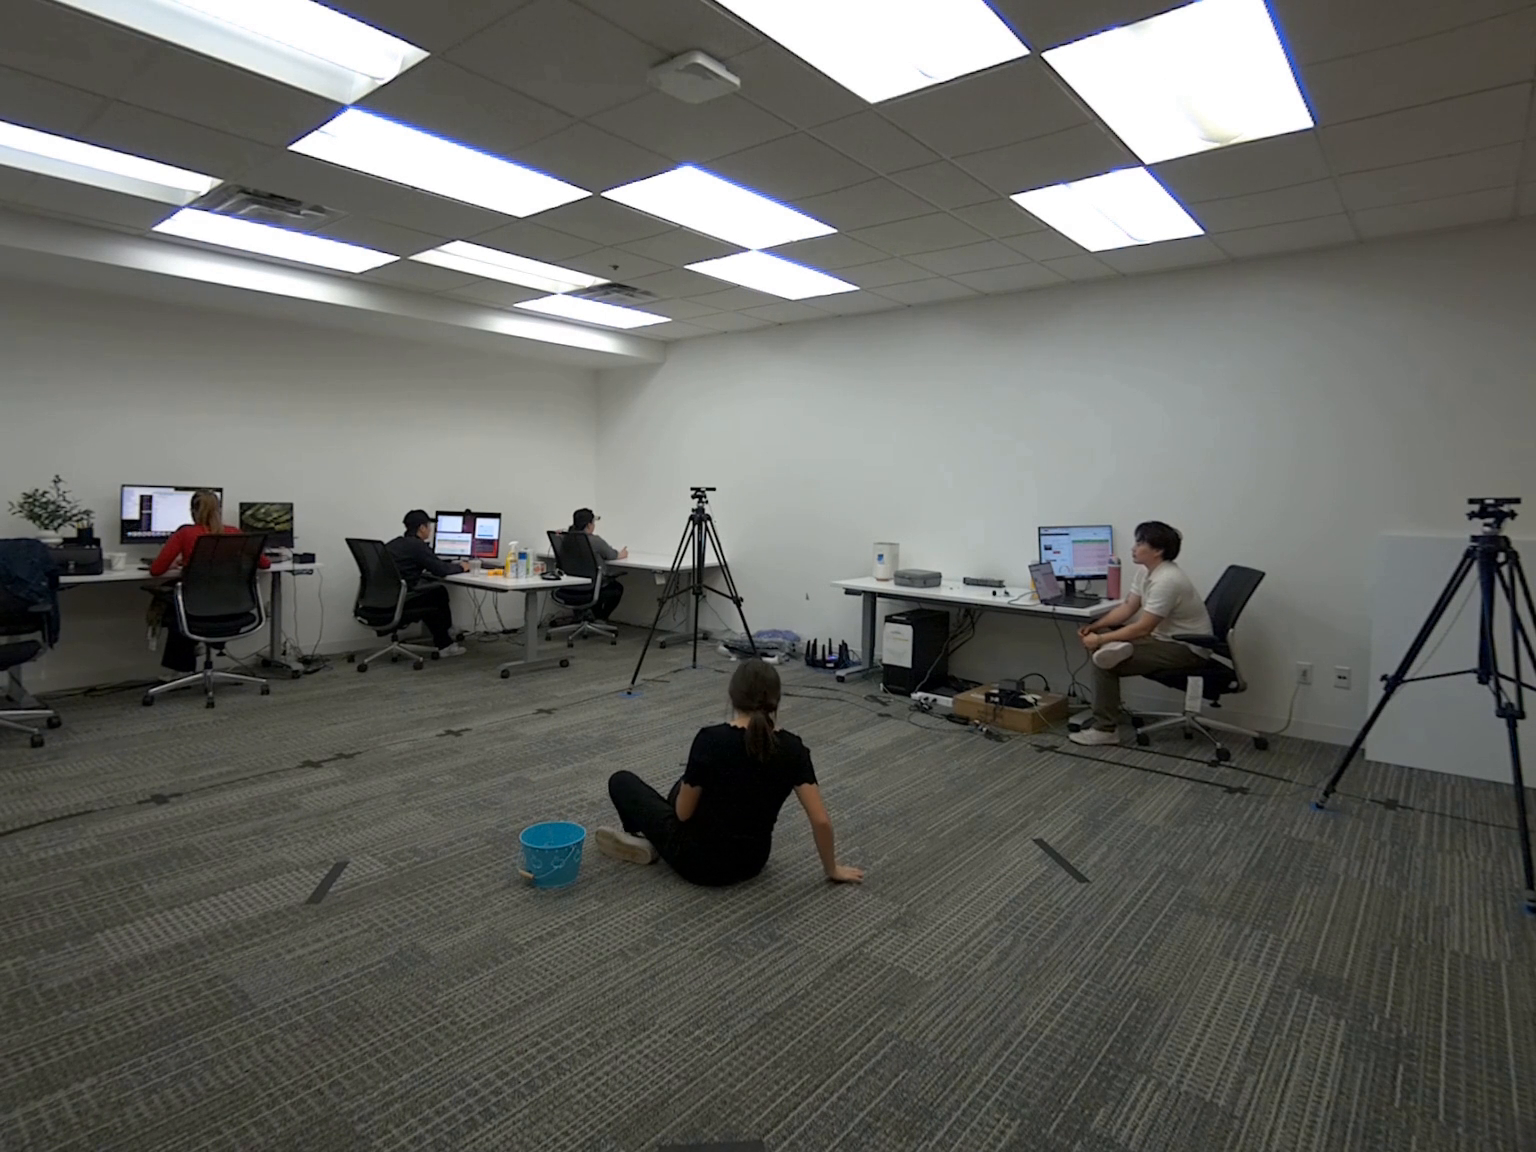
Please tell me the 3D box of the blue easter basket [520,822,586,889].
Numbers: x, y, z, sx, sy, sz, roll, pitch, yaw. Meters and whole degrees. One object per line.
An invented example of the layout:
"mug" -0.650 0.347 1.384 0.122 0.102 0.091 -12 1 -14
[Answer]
"blue easter basket" -0.781 0.987 3.025 0.243 0.155 0.245 1 5 -2
